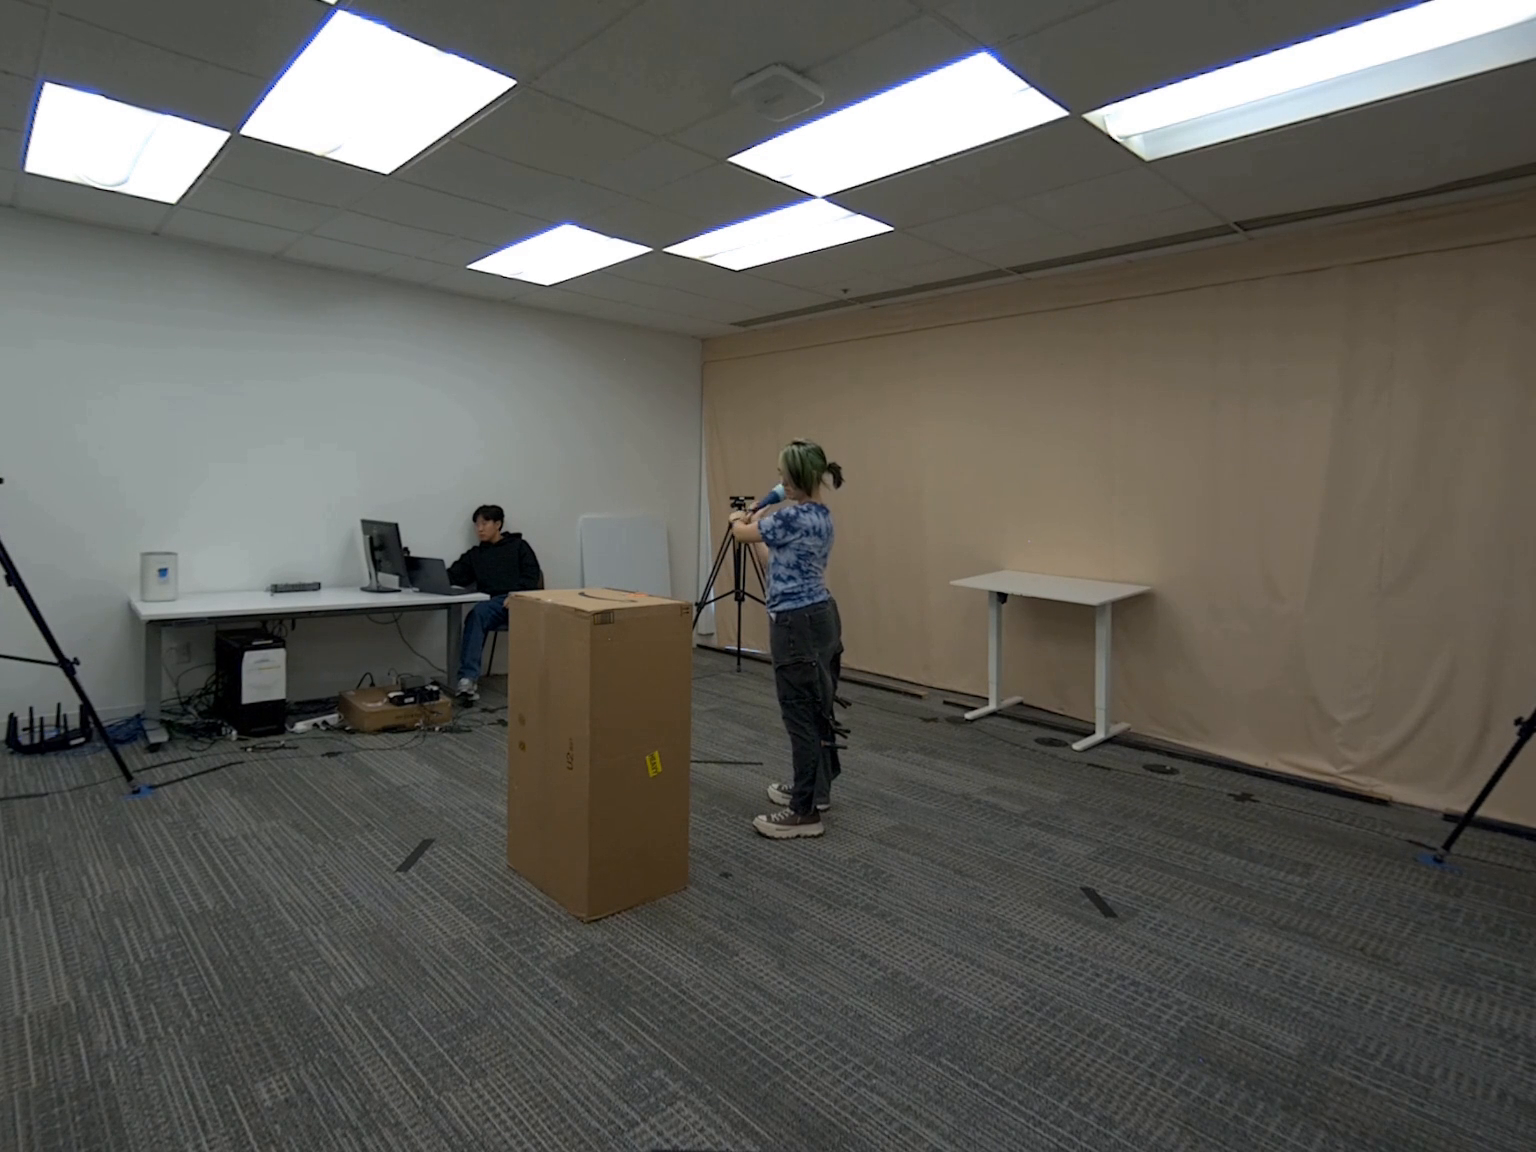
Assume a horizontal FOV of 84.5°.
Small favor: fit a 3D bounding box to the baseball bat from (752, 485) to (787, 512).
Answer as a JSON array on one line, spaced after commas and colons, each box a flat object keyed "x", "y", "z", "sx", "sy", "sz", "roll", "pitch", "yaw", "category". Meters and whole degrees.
[{"x": 0.004, "y": -0.358, "z": 4.042, "sx": 0.539, "sy": 0.087, "sz": 0.091, "roll": -35, "pitch": 24, "yaw": -30, "category": "baseball bat"}]
